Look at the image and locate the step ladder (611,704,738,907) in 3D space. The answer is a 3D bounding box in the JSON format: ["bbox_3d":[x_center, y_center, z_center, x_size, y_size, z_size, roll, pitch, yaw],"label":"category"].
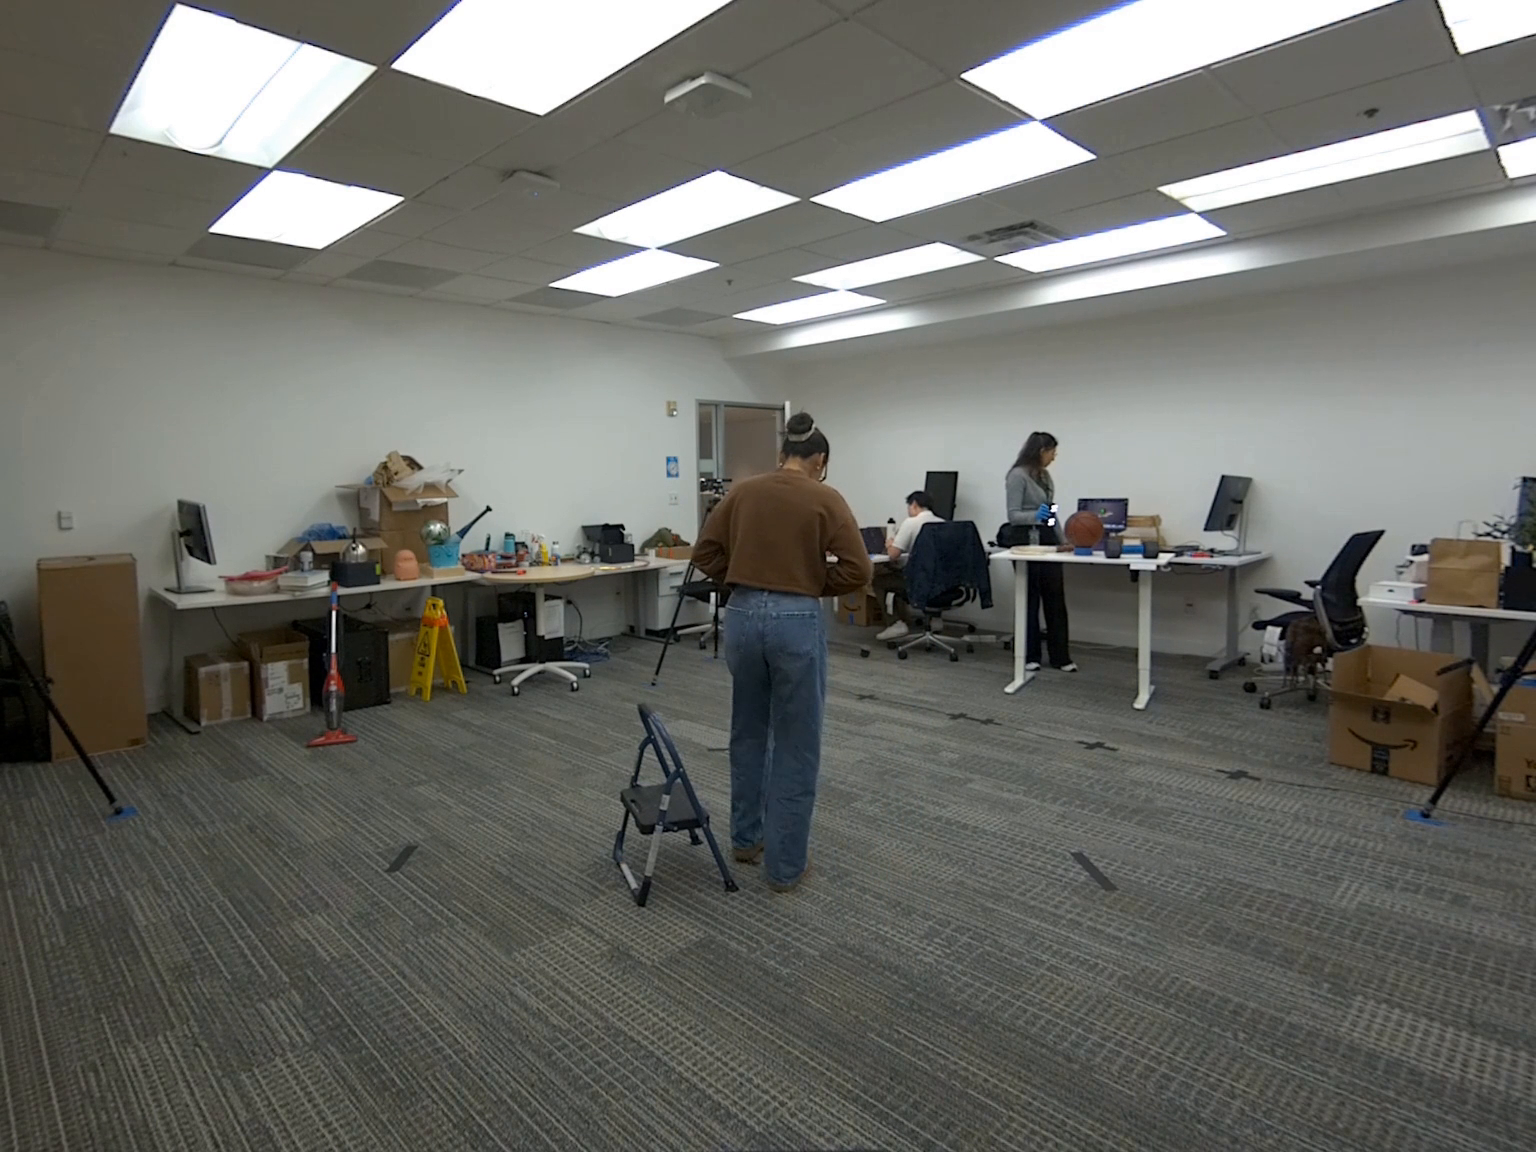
[{"bbox_3d":[-0.343,0.758,3.030,0.343,0.604,0.440,-2,4,-22],"label":"step ladder"}]
